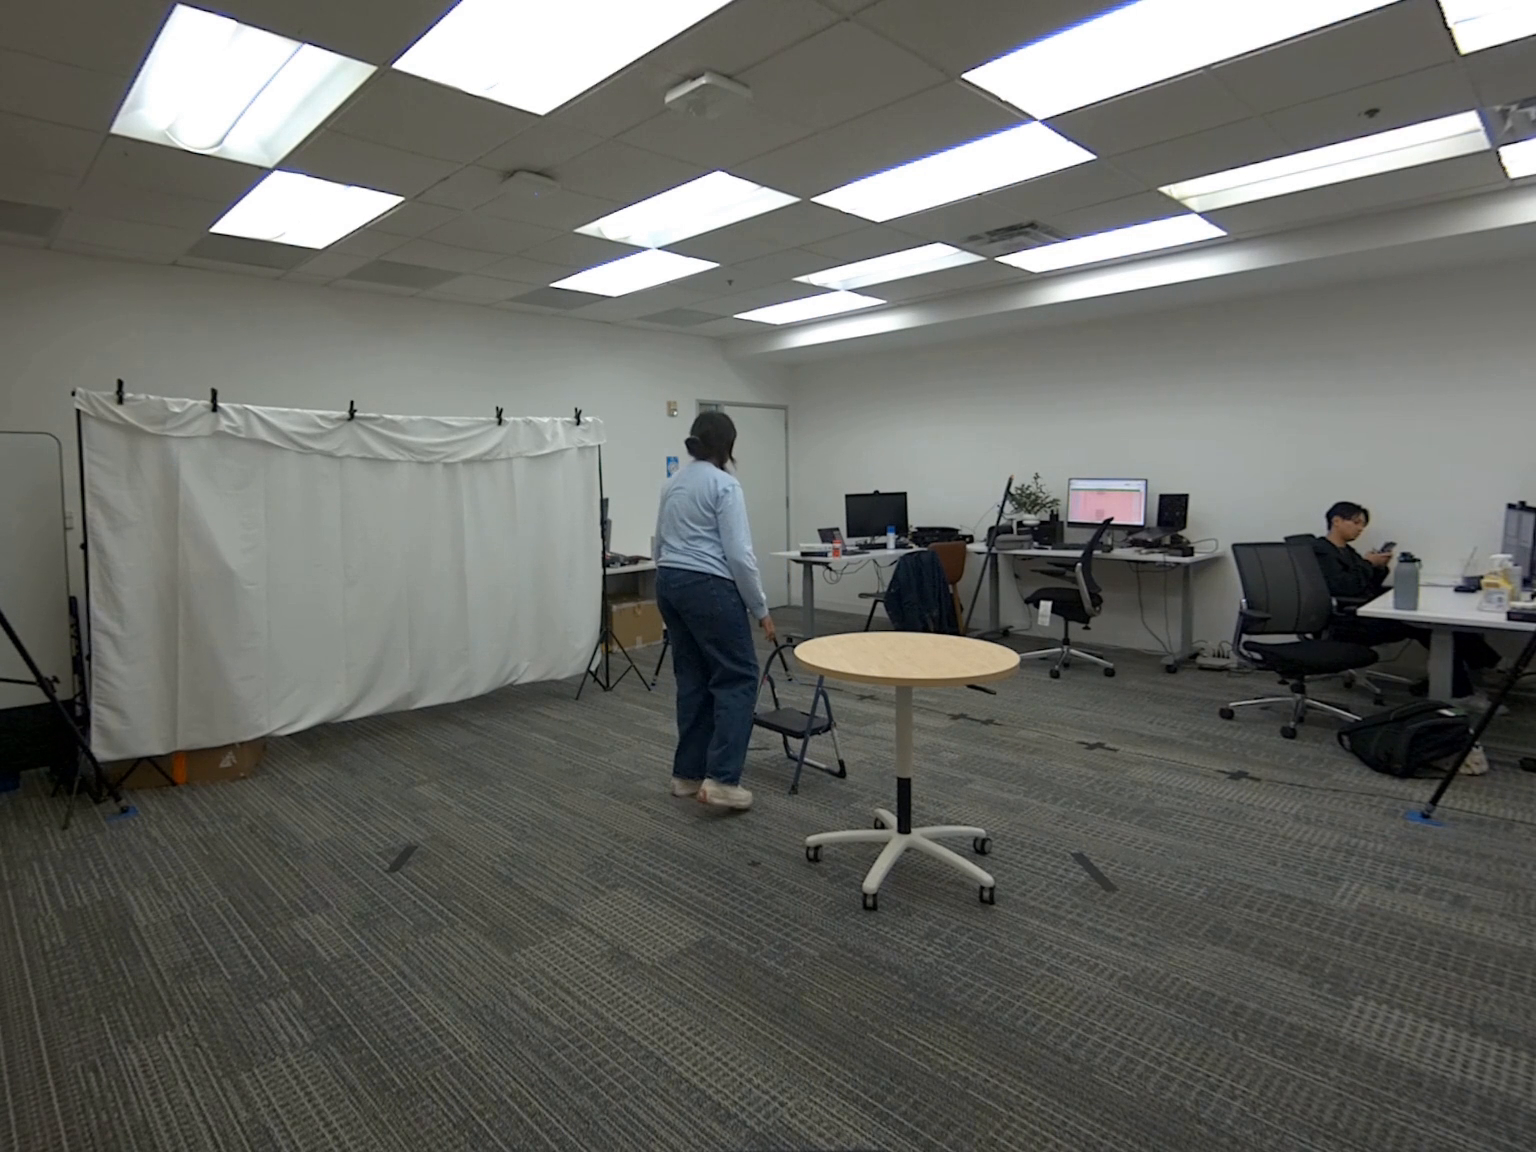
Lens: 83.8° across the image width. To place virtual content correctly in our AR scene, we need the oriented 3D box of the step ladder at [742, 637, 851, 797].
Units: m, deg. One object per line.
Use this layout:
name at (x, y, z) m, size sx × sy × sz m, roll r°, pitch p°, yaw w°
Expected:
step ladder at (0.104, 0.638, 4.034) m, size 0.340 × 0.604 × 0.443 m, roll -4°, pitch 5°, yaw -38°
